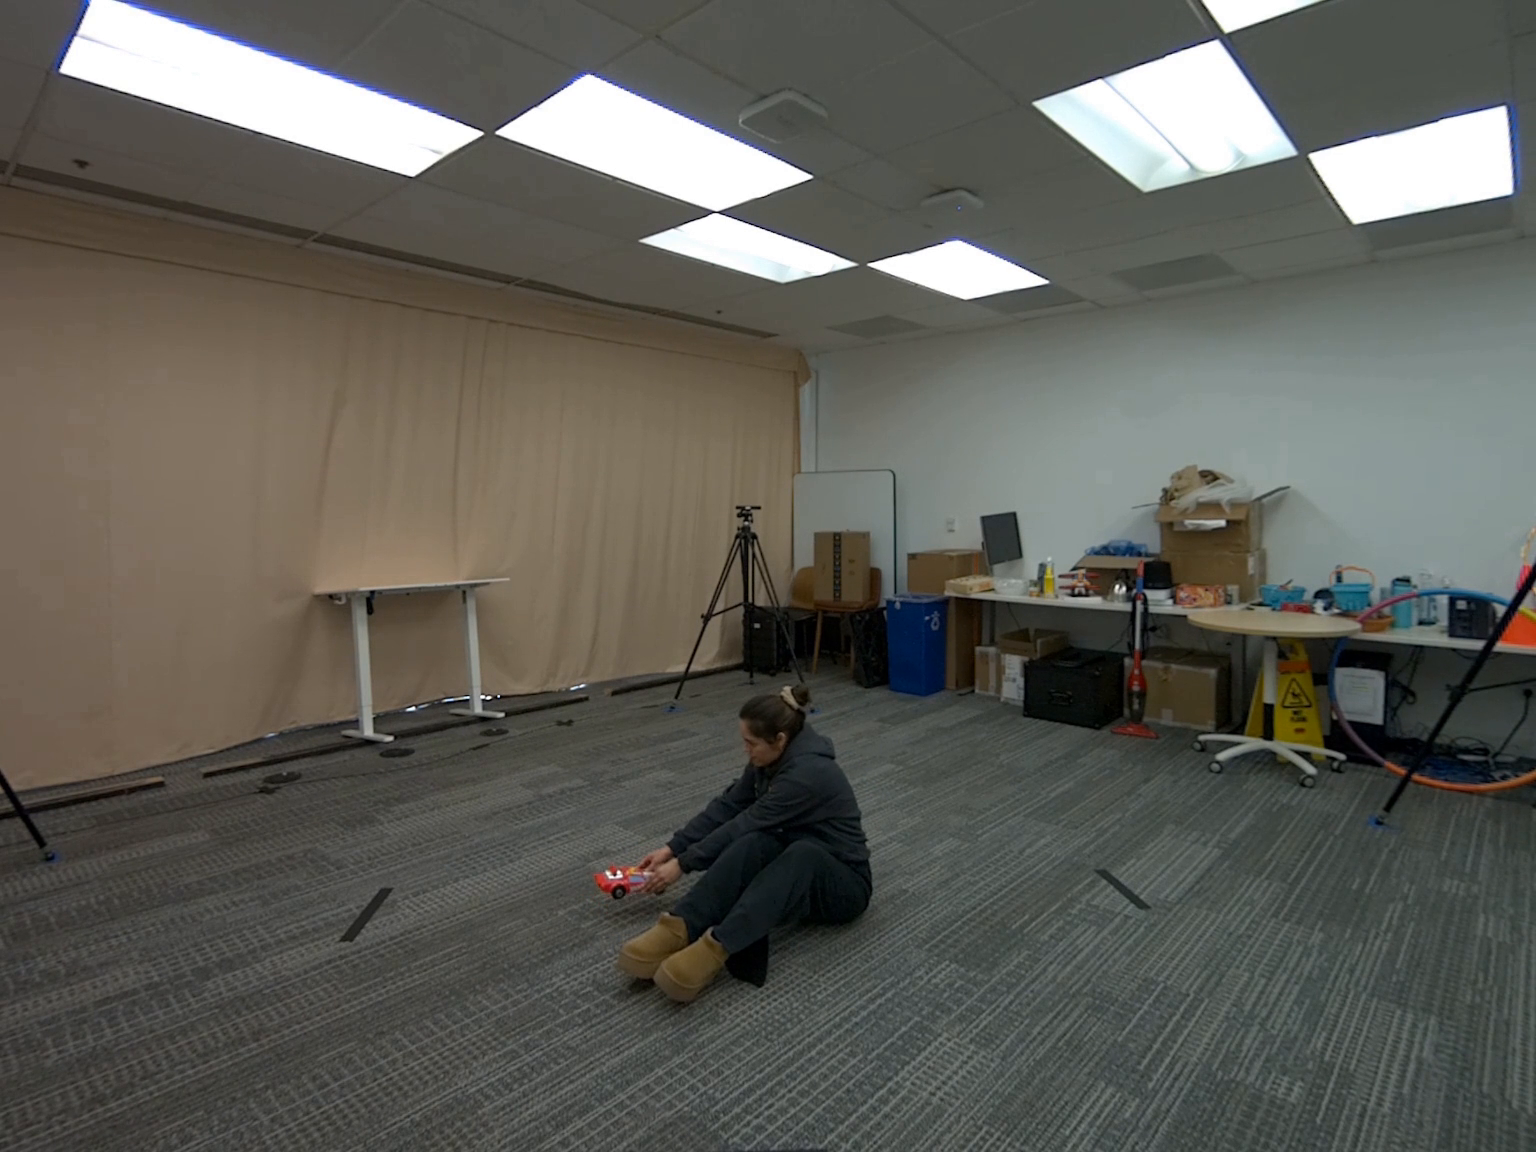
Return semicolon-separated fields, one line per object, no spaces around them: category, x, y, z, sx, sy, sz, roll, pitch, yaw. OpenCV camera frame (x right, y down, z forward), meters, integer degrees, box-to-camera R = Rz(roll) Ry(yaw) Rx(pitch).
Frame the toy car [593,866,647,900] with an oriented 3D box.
toy car;-0.457;1.050;2.876;0.249;0.083;0.133;17;-2;-19
